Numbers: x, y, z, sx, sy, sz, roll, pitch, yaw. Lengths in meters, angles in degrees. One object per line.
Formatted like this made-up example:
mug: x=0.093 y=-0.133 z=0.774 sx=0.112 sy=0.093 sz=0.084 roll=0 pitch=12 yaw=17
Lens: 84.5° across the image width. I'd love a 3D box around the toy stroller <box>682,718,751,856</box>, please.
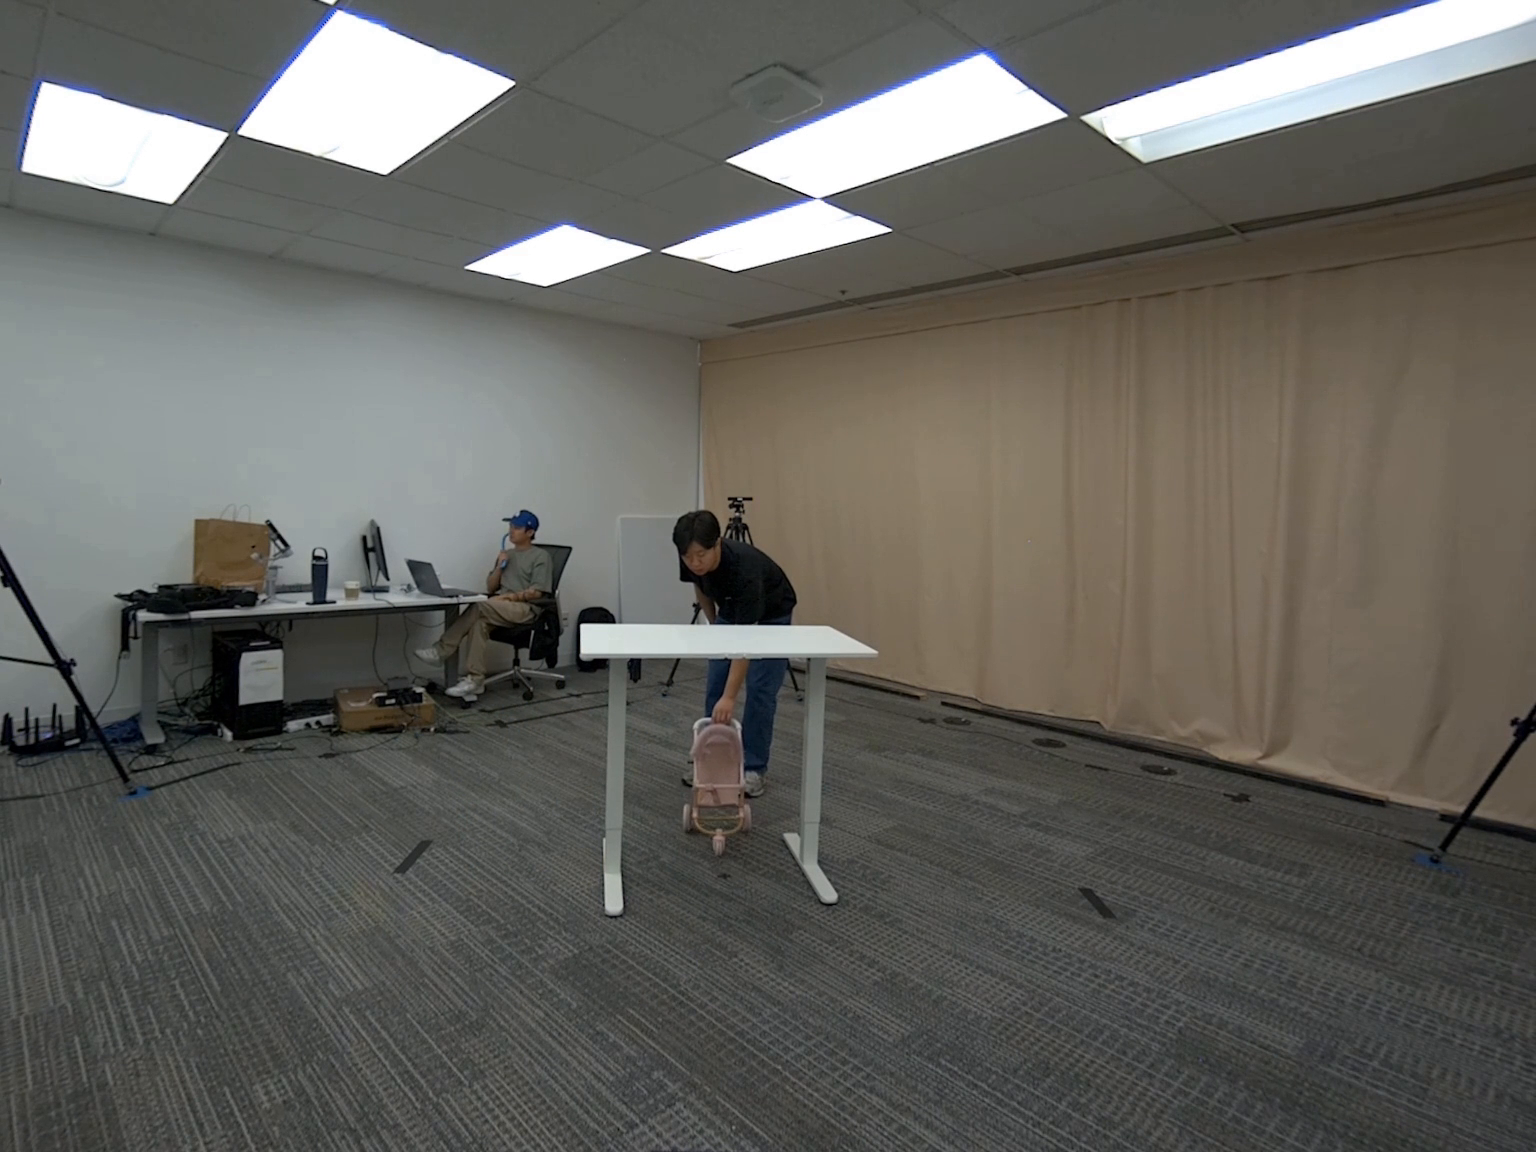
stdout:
toy stroller: x=-0.216 y=0.851 z=3.455 sx=0.281 sy=0.540 sz=0.338 roll=1 pitch=-12 yaw=-1
